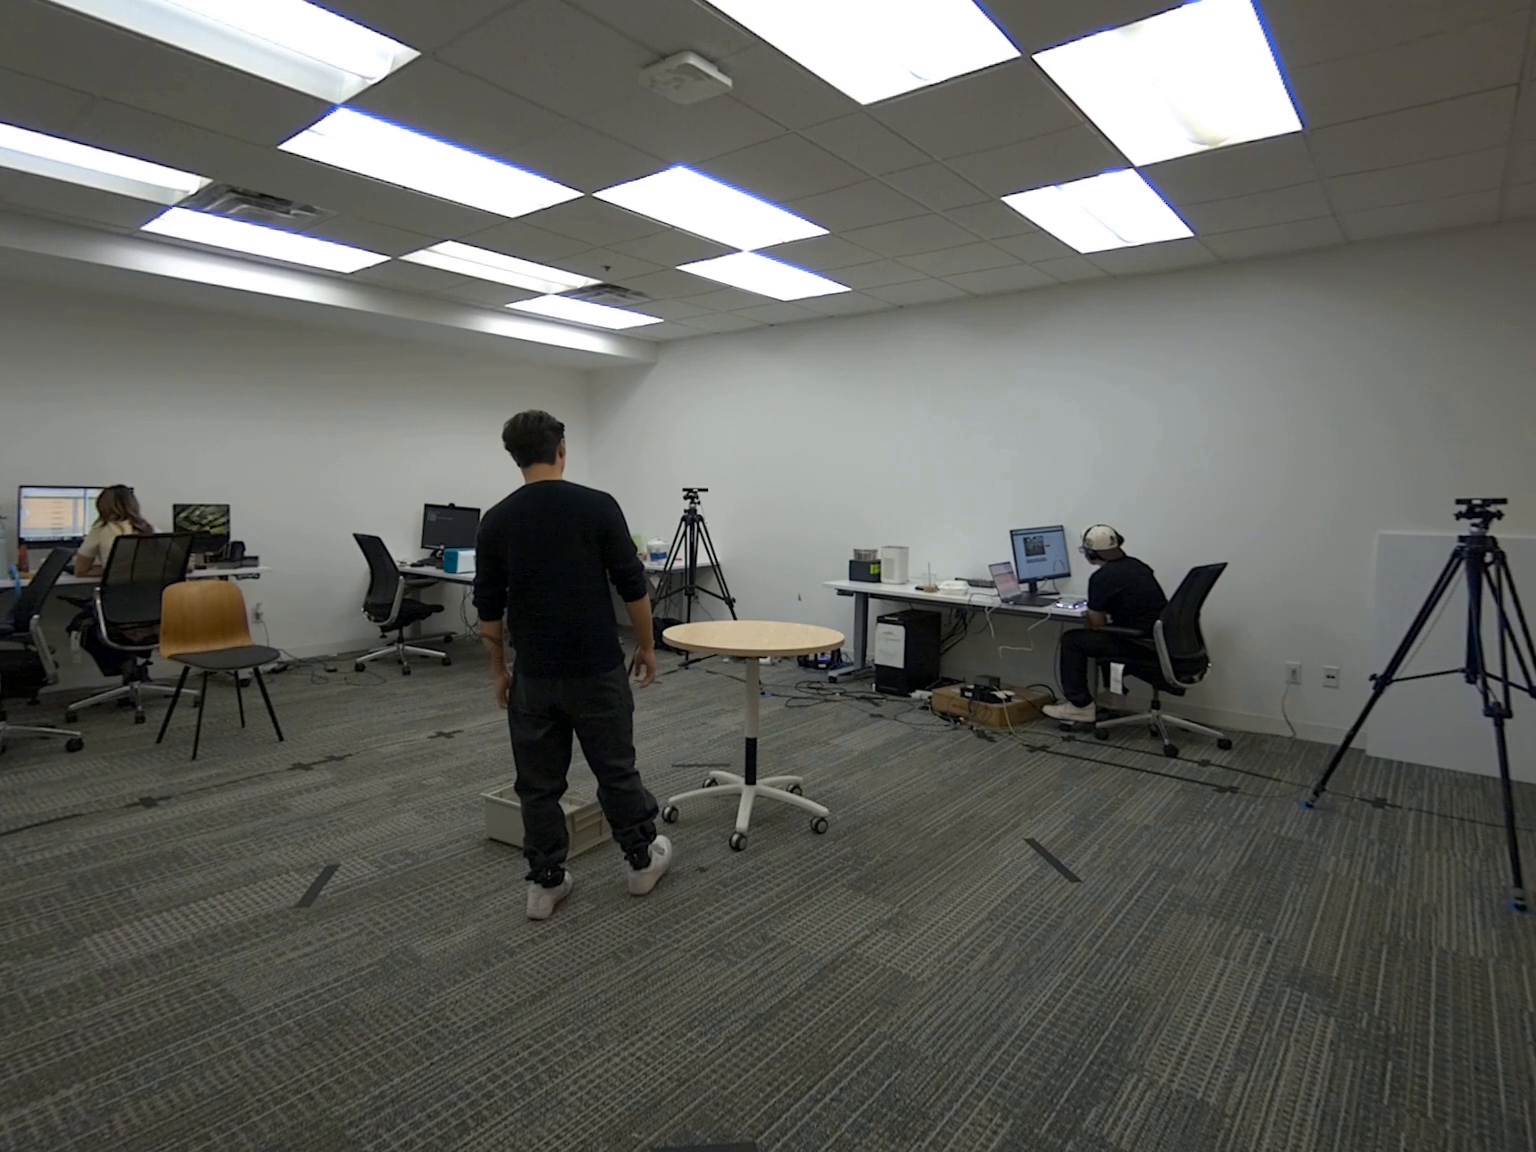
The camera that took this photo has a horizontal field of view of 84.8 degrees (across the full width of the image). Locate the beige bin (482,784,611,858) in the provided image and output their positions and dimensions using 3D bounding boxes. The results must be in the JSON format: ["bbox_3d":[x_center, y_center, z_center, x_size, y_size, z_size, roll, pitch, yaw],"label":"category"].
[{"bbox_3d":[-0.872,0.942,3.384,0.435,0.188,0.368,5,7,30],"label":"beige bin"}]
